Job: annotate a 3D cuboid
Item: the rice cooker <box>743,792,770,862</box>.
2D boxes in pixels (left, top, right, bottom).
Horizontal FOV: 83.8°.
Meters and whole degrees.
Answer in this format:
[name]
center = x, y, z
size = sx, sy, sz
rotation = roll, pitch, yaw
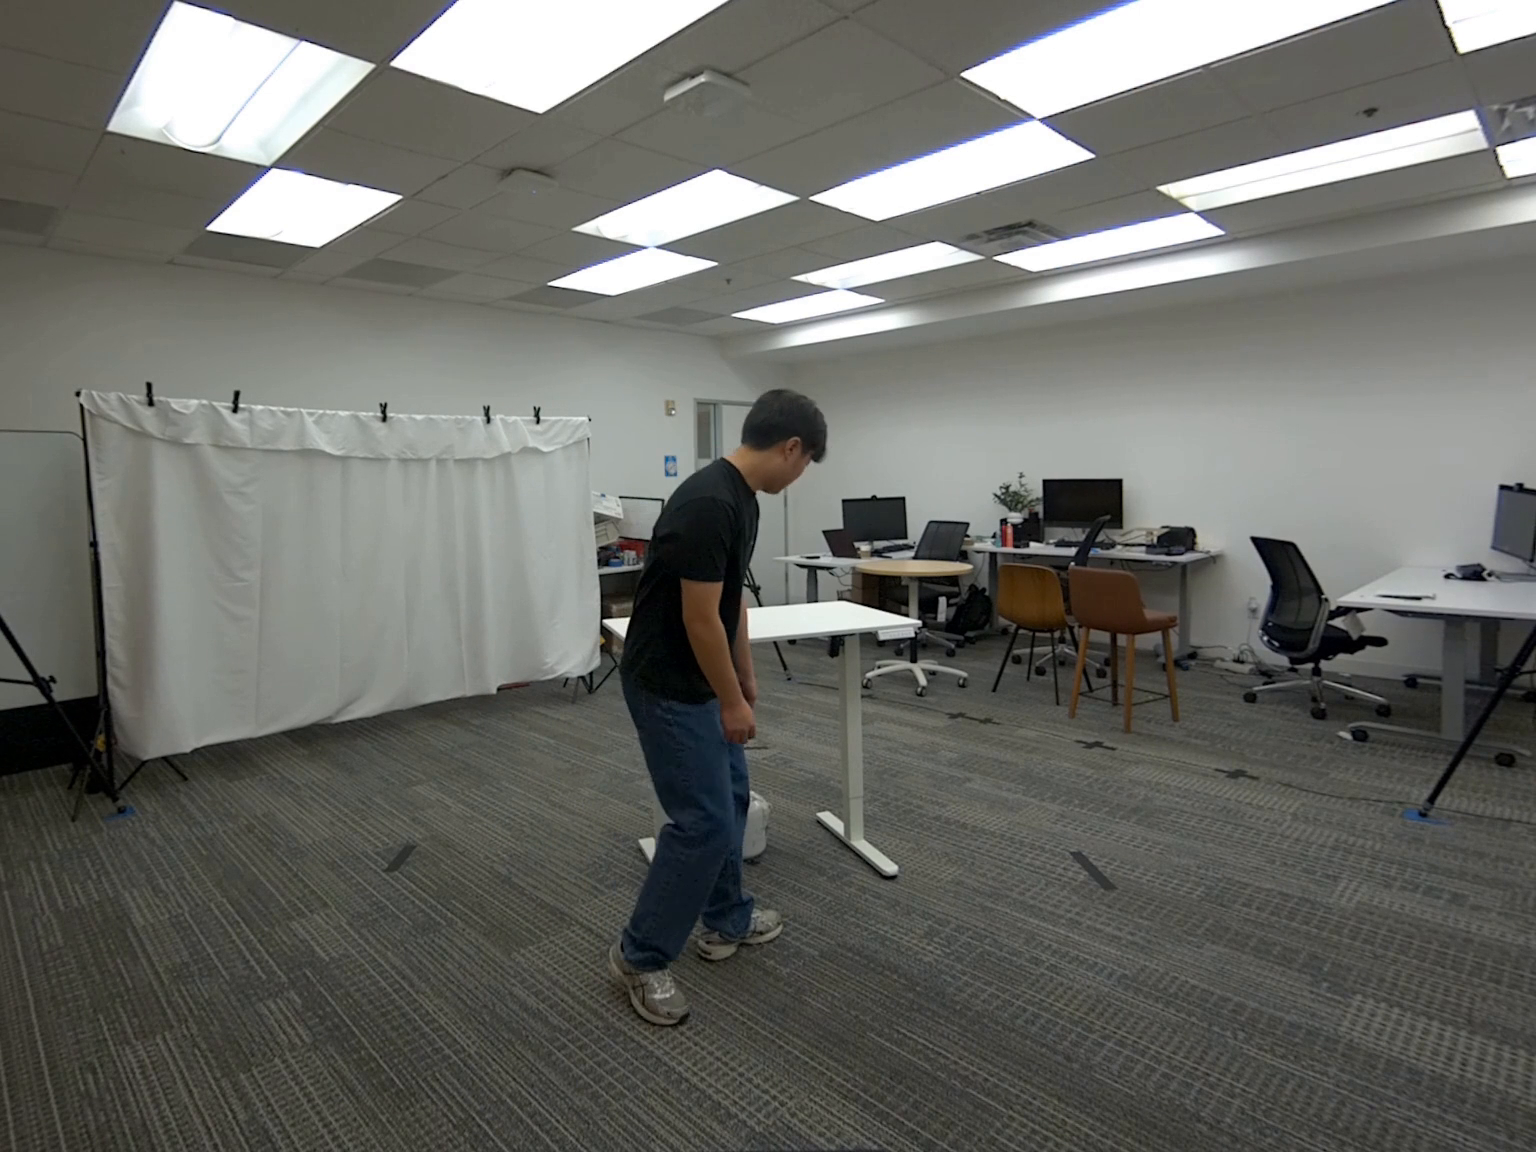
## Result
[rice cooker]
center = -0.105, 0.918, 3.201
size = 0.223, 0.232, 0.215
rotation = 0, 3, 11
